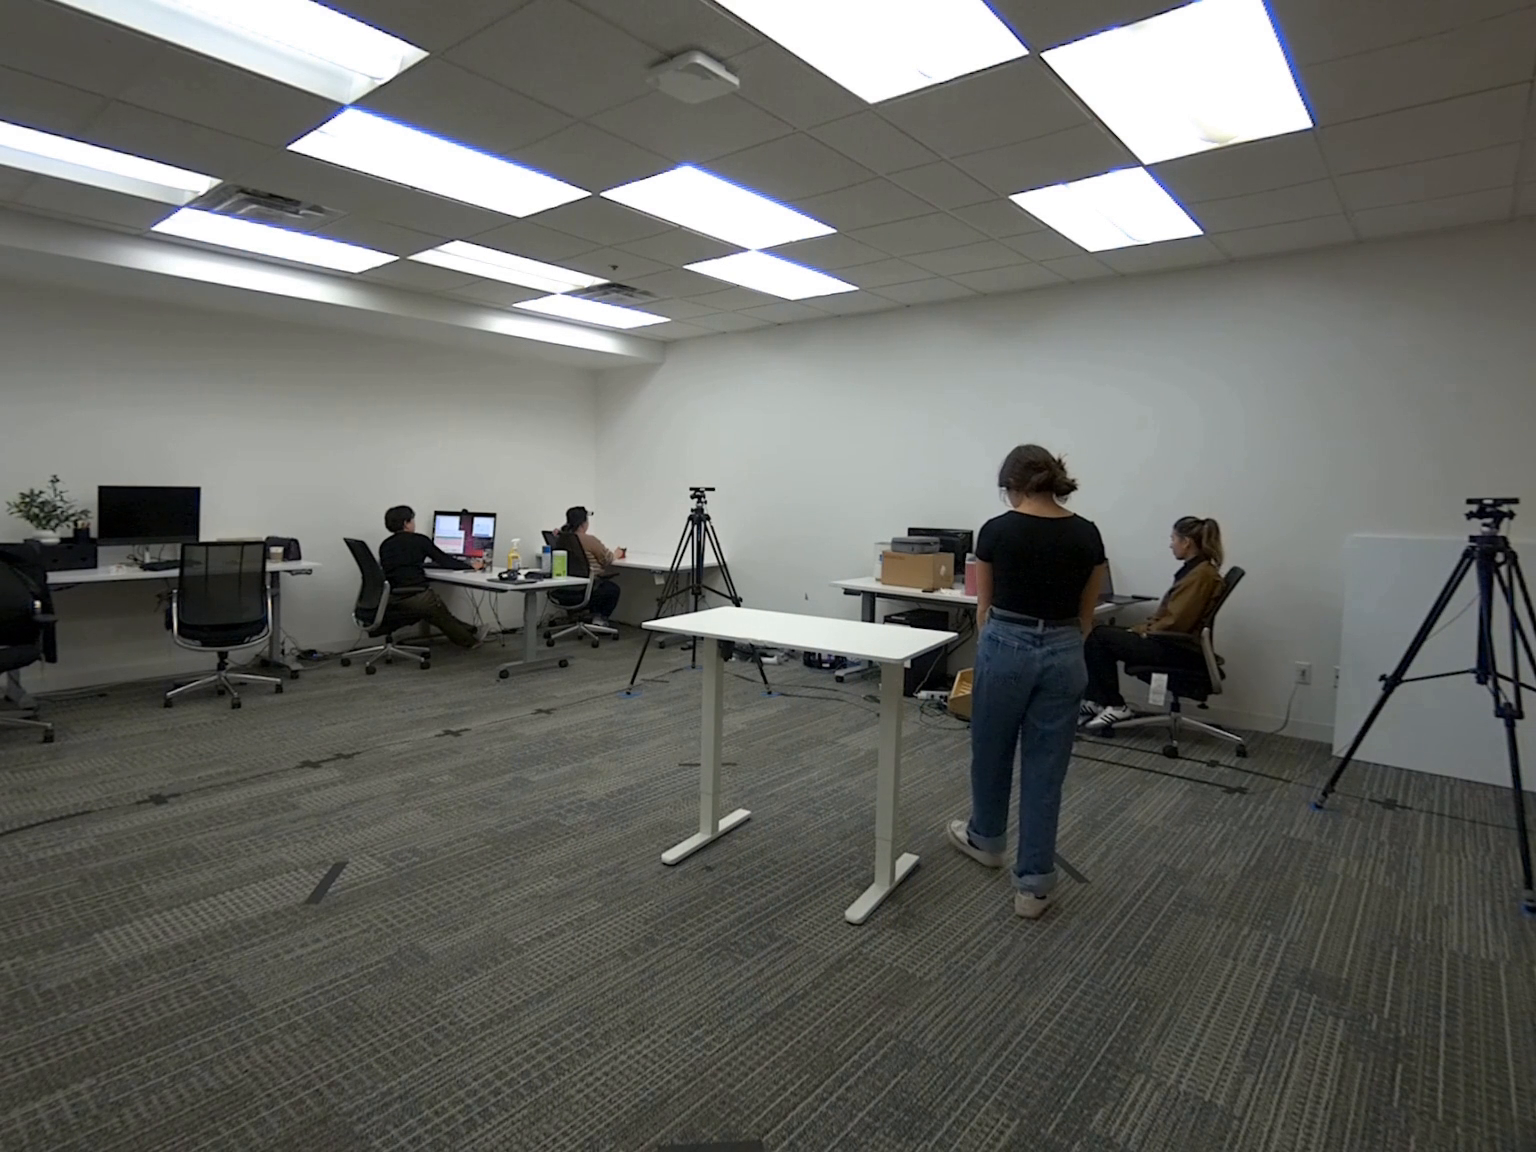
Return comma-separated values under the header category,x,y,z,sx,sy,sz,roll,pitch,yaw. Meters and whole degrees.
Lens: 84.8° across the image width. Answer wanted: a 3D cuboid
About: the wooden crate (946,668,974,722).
category,x,y,z,sx,sy,sz,roll,pitch,yaw
wooden crate,0.878,0.383,3.220,0.309,0.270,0.320,18,17,18
